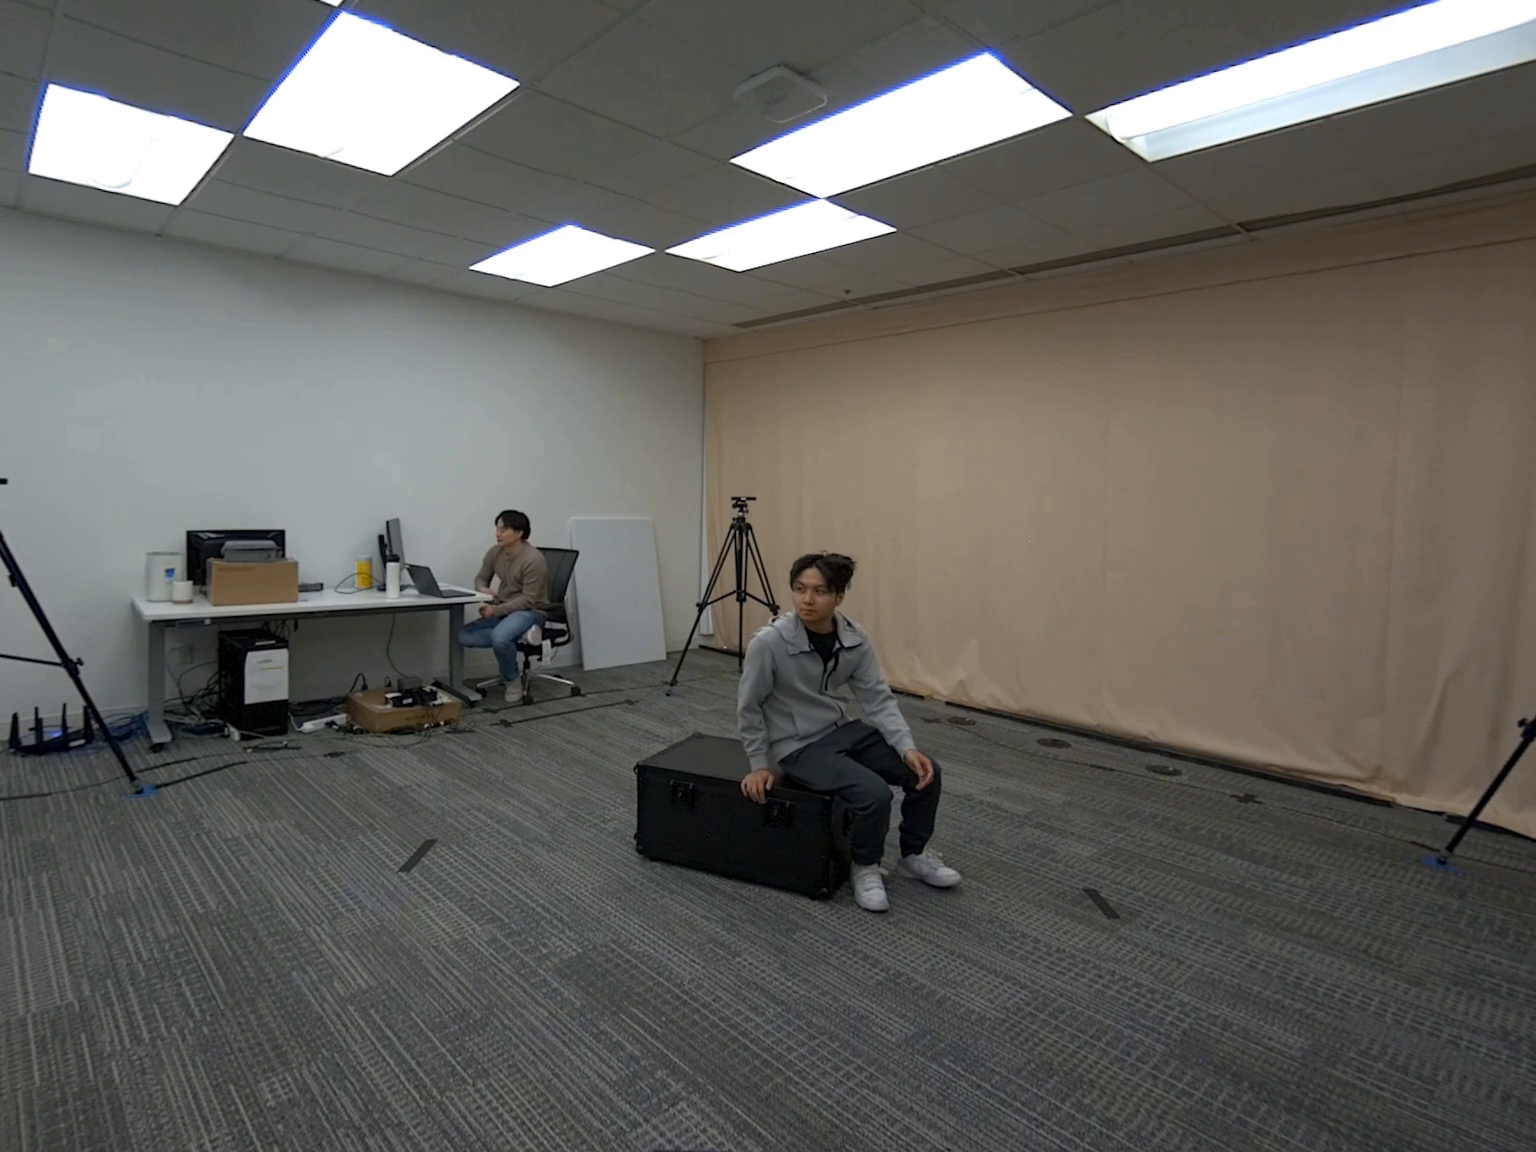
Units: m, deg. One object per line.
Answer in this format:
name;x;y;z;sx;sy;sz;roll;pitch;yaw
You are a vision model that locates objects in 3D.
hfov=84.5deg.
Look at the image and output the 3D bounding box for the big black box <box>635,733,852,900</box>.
big black box;-0.032;0.906;3.254;0.878;0.395;0.513;3;5;25
